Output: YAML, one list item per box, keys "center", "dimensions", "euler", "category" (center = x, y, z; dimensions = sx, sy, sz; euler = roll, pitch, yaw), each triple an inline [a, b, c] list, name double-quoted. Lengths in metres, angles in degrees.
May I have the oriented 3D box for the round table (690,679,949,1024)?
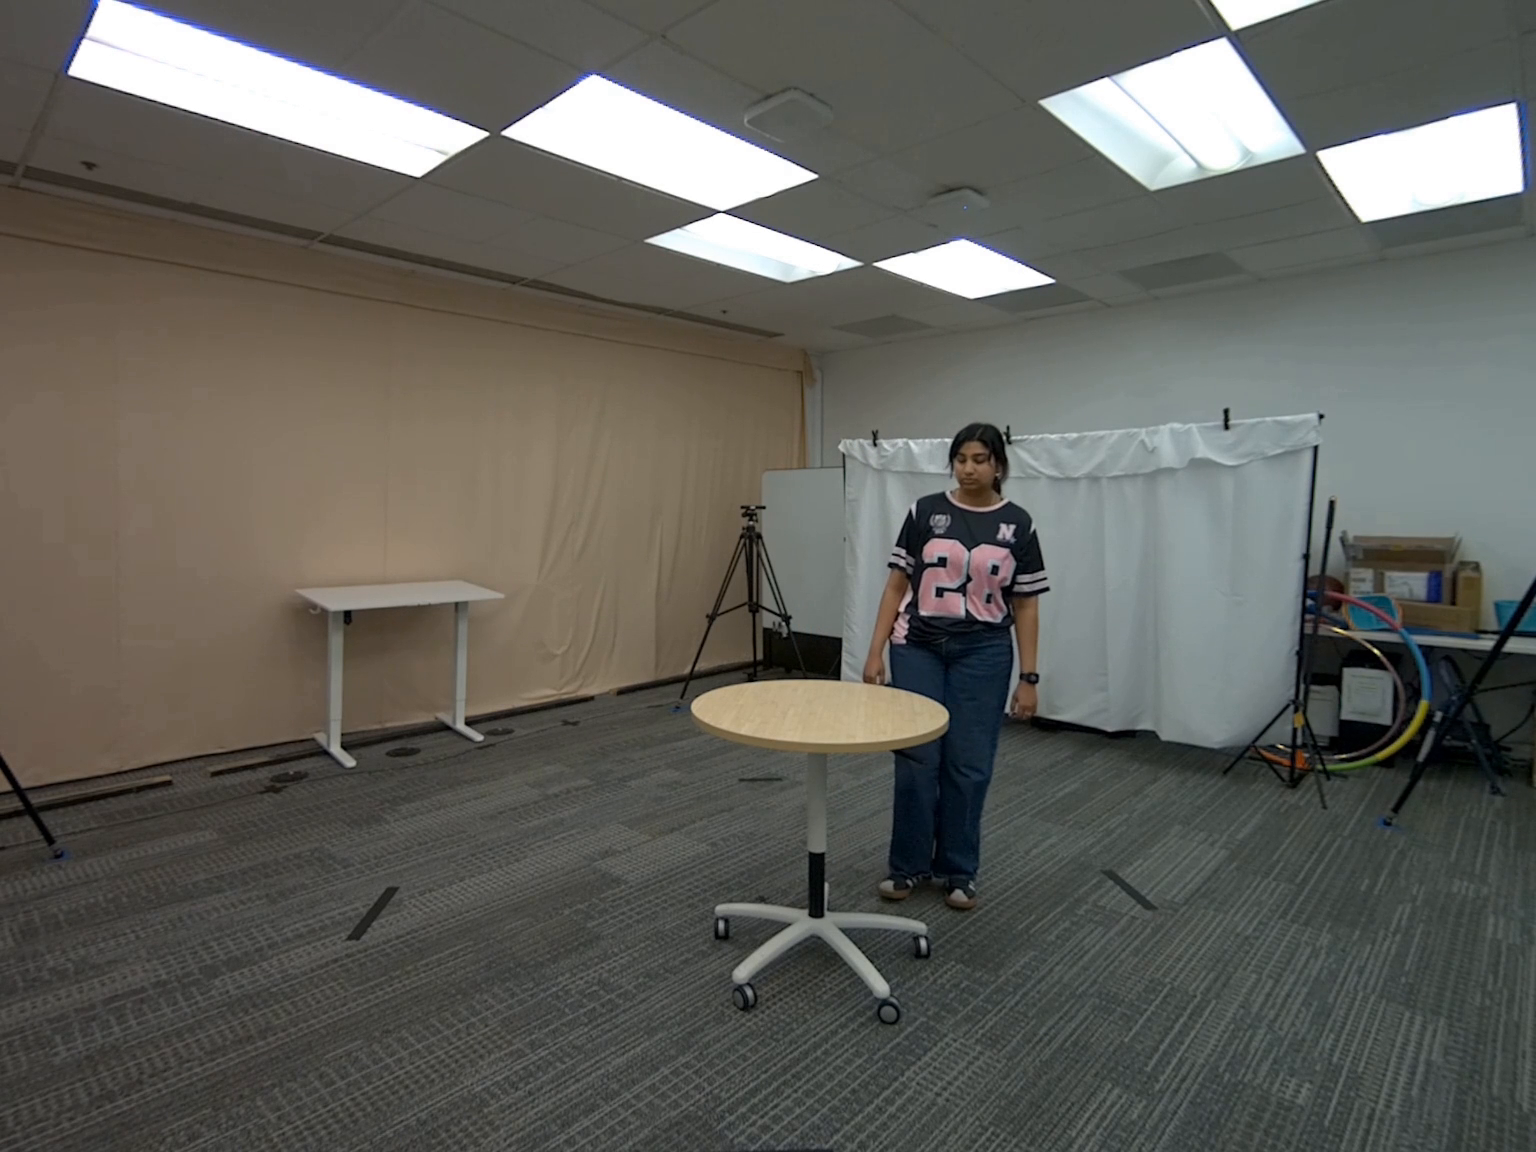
- center: [0.144, 0.792, 2.555]
  dimensions: [0.763, 0.792, 0.767]
  euler: [0, 4, -2]
  category: "round table"
